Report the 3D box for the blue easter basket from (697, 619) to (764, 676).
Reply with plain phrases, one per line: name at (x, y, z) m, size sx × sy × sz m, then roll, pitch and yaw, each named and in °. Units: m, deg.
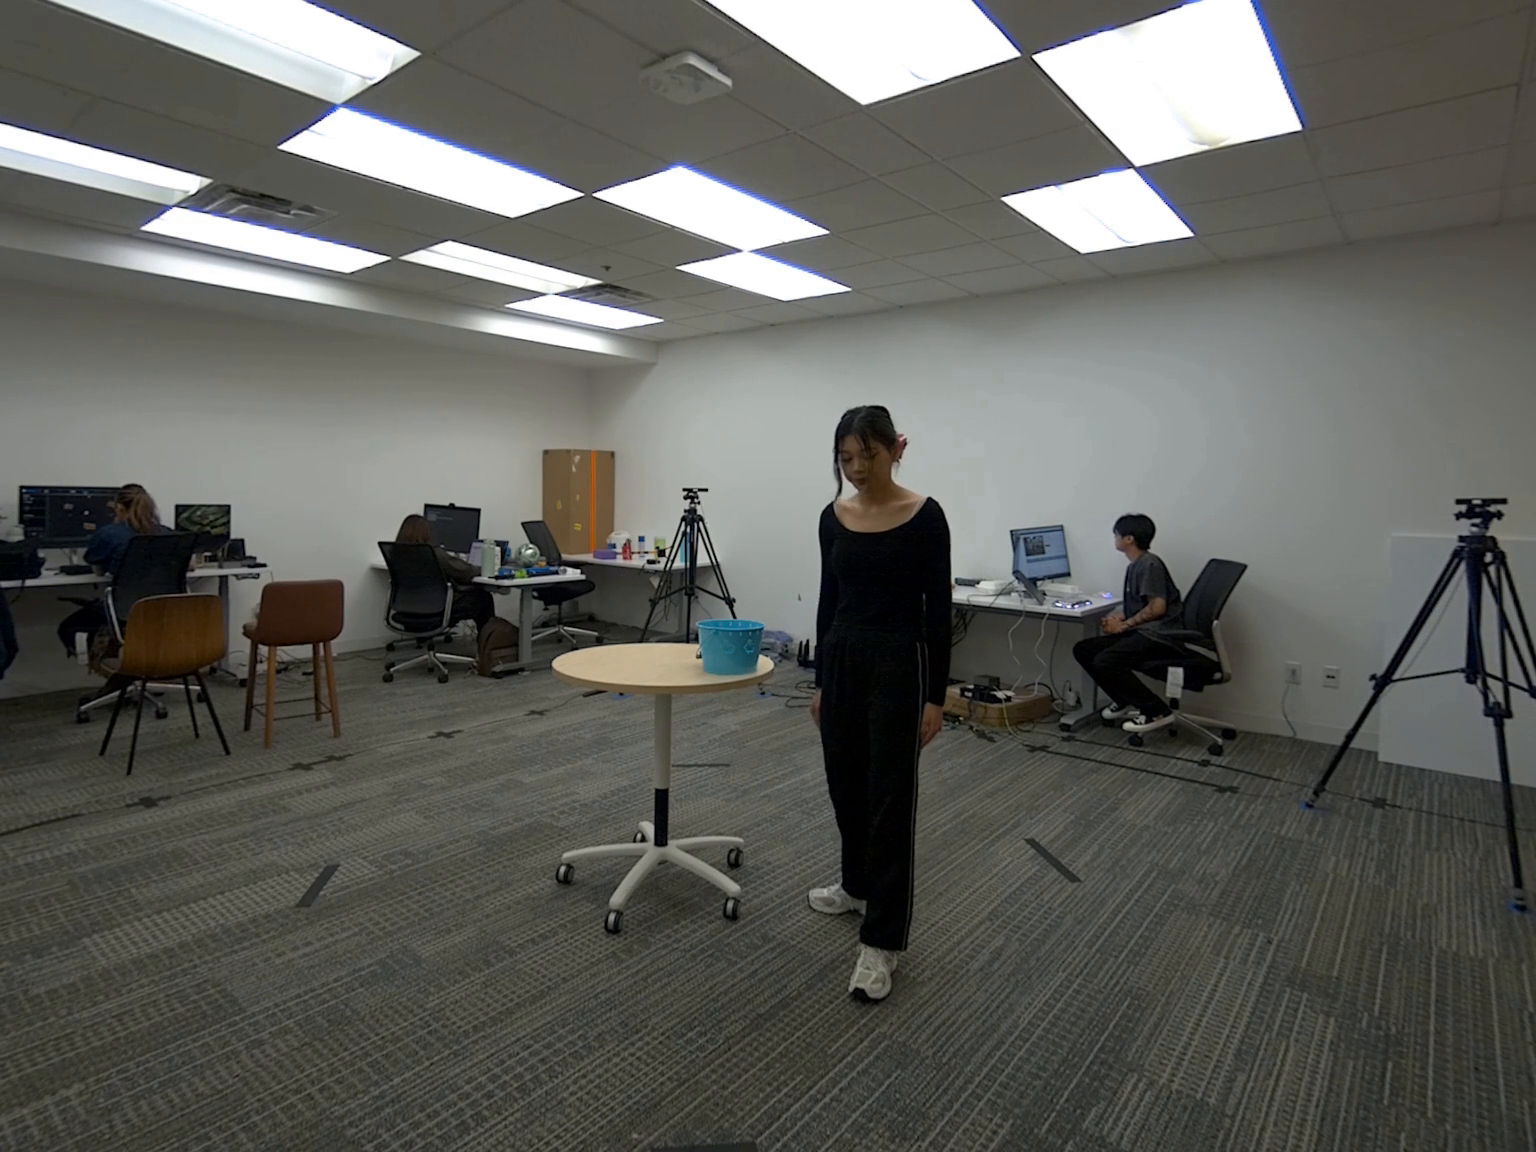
blue easter basket at (-0.126, 0.238, 2.852) m, size 0.243 × 0.155 × 0.245 m, roll 2°, pitch 5°, yaw -2°
